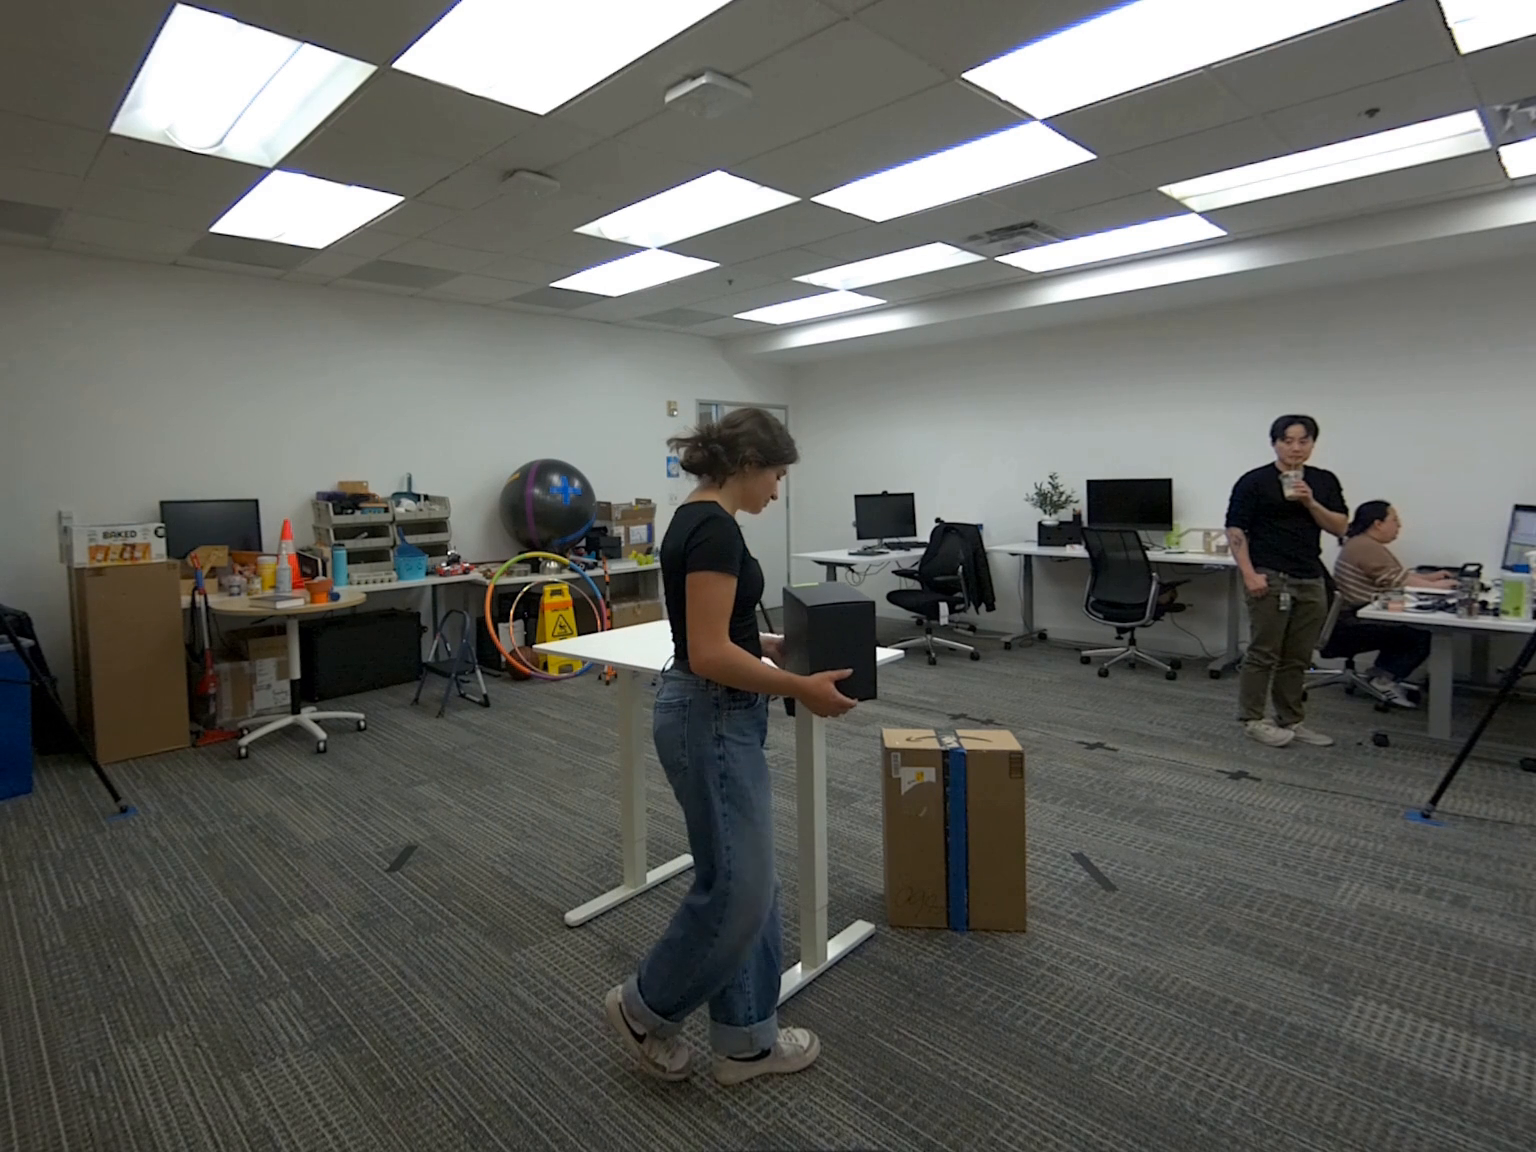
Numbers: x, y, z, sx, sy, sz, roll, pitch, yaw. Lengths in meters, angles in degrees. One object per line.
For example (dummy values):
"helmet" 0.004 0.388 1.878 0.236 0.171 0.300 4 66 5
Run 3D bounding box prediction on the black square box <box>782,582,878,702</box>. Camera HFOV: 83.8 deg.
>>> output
"black square box" 0.124 0.148 1.968 0.154 0.226 0.222 -4 10 -16
